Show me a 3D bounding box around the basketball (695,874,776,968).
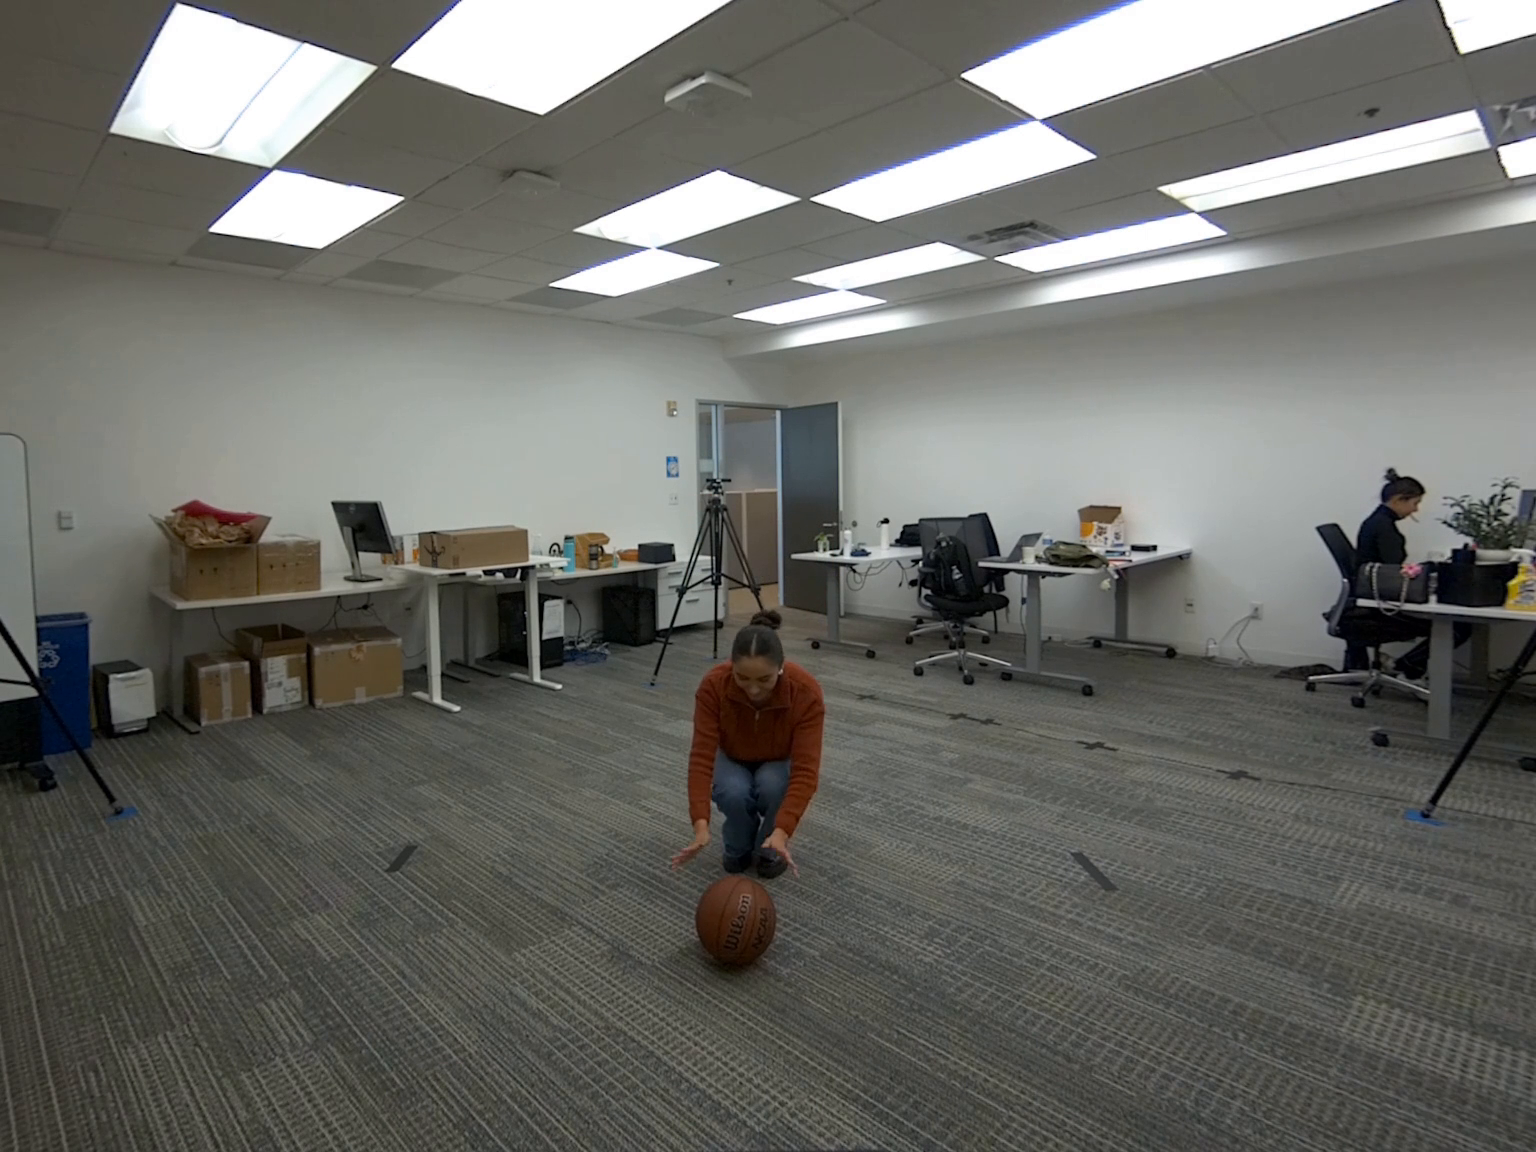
[{"bbox_3d":[-0.093,0.999,2.489,0.236,0.235,0.237,-1,5,-2],"label":"basketball"}]
